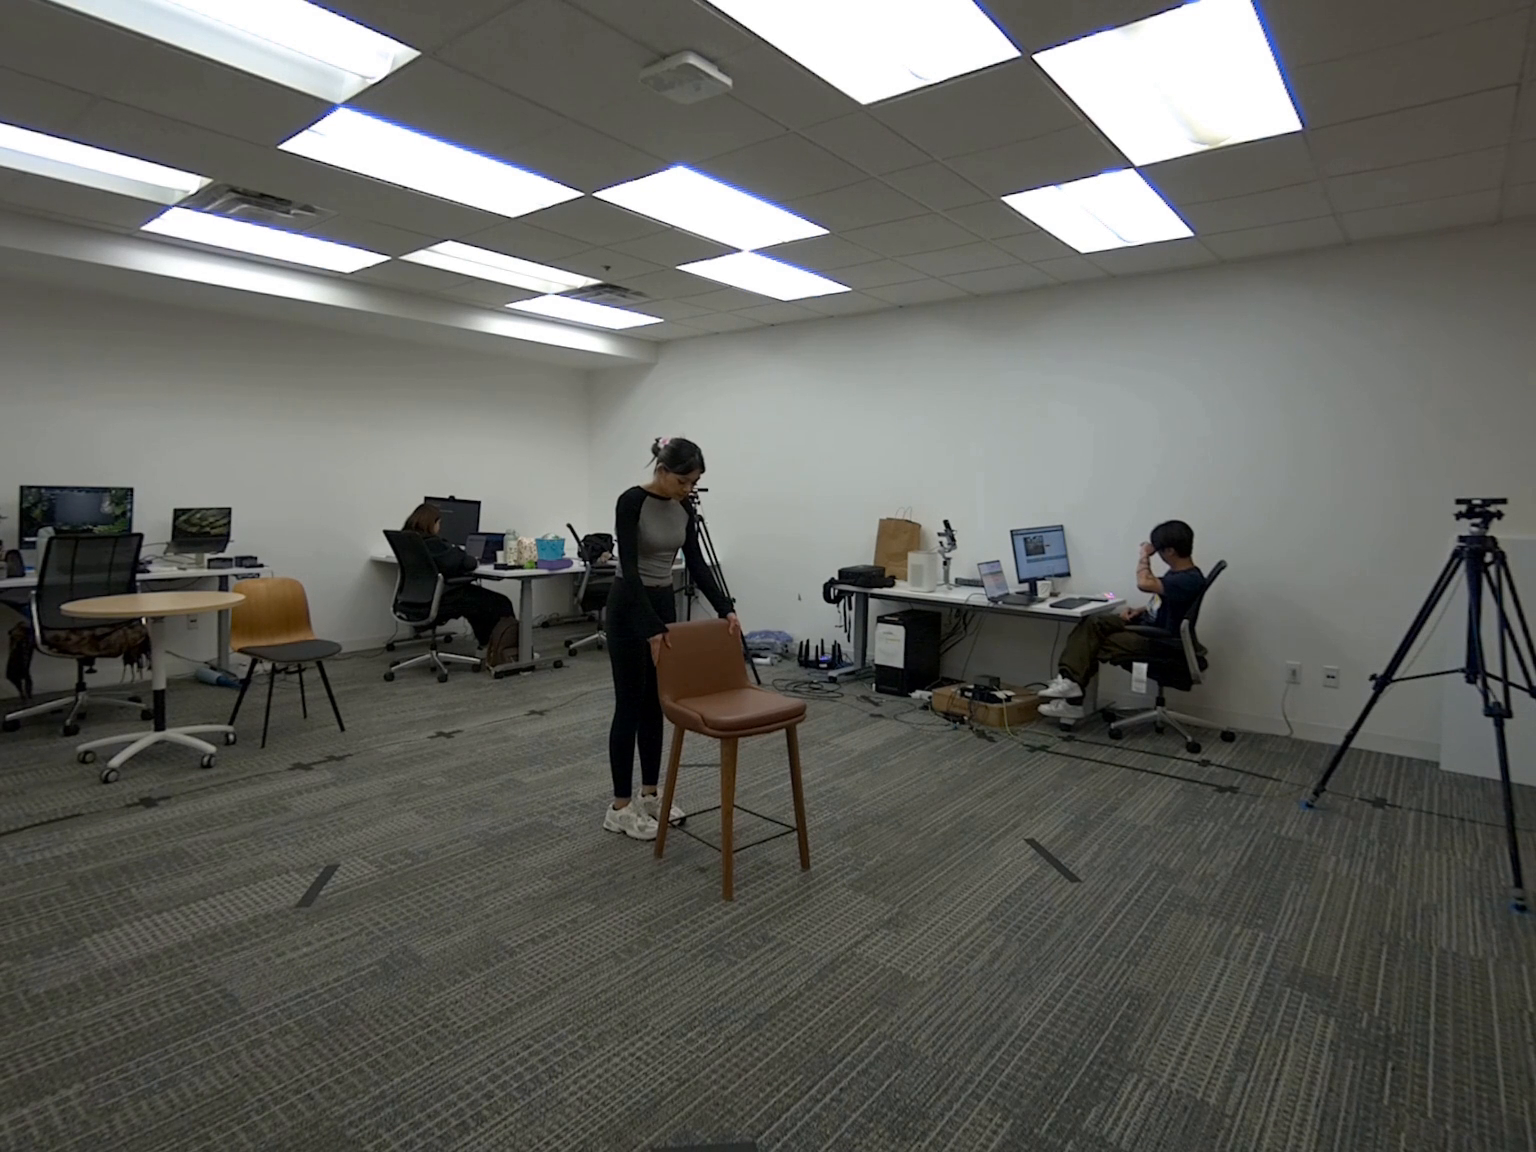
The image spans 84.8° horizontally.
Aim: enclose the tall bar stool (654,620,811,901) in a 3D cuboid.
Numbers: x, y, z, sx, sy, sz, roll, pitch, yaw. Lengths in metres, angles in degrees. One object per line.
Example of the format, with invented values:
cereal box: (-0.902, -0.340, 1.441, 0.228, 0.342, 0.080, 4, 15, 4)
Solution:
tall bar stool: (-0.151, 0.627, 3.154, 0.443, 0.889, 0.482, -2, 2, -42)
